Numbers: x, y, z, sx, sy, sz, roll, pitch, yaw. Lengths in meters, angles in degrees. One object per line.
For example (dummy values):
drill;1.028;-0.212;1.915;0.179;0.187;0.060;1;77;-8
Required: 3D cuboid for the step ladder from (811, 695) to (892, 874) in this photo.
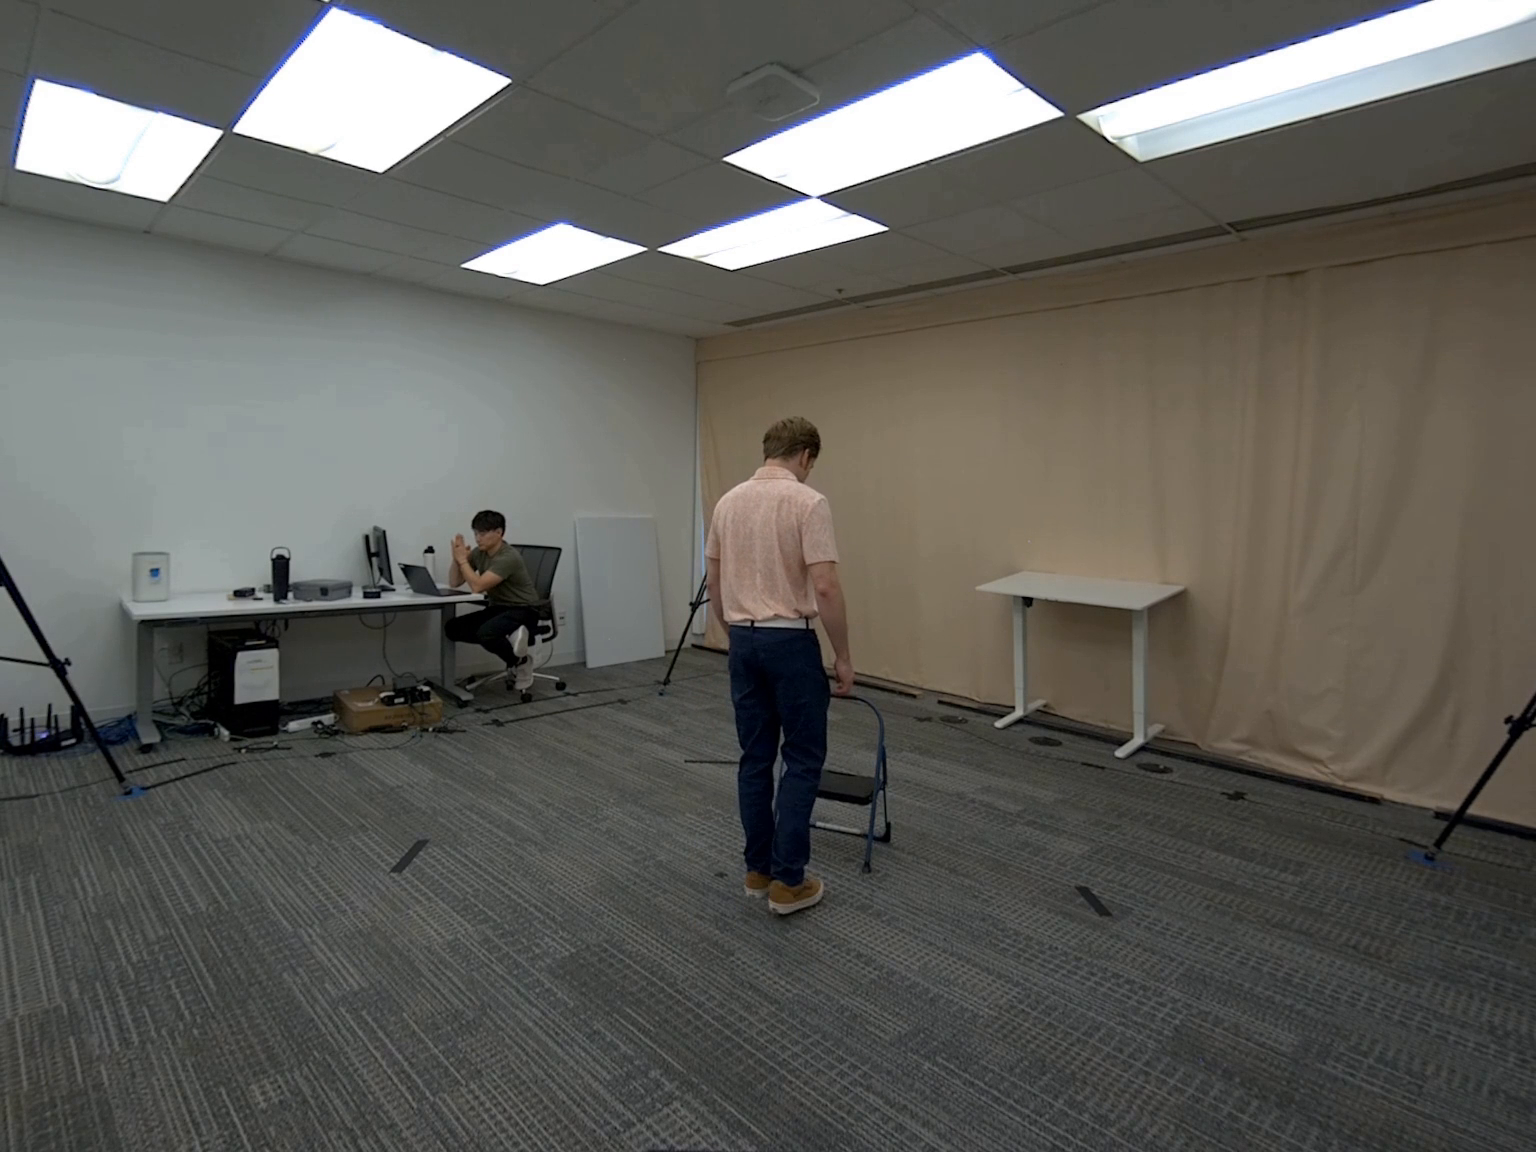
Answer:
step ladder;0.254;0.787;3.379;0.439;0.605;0.343;4;4;24
